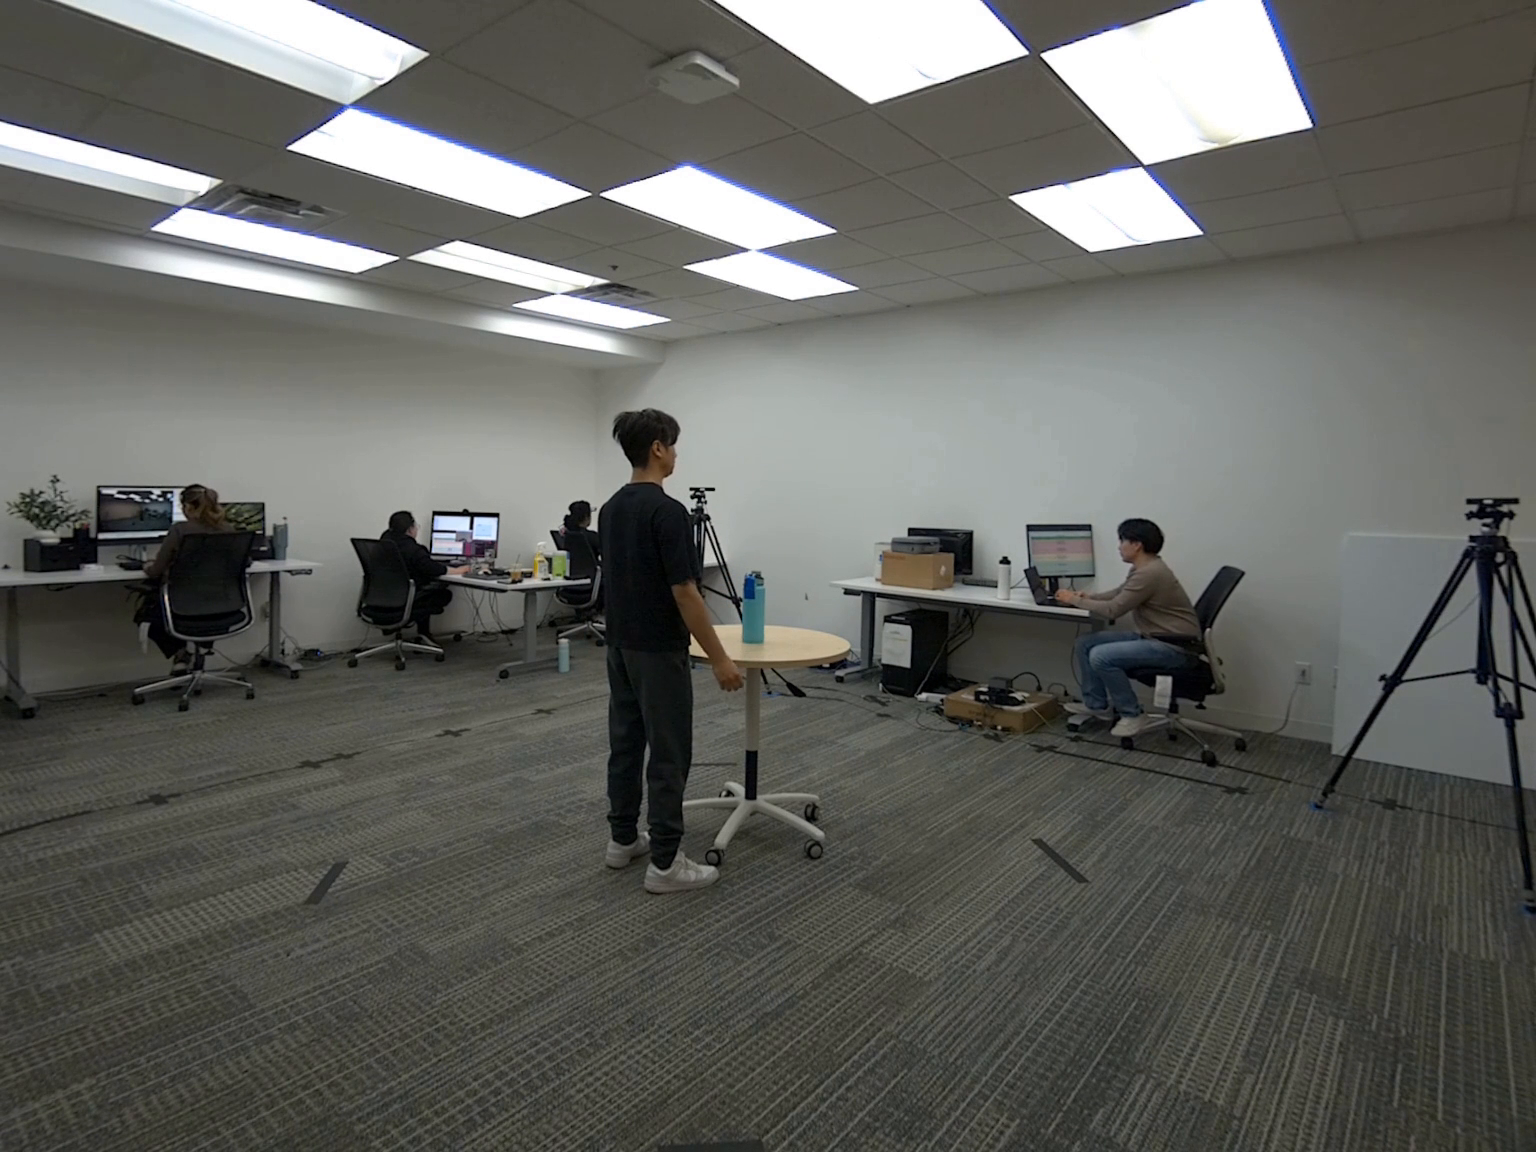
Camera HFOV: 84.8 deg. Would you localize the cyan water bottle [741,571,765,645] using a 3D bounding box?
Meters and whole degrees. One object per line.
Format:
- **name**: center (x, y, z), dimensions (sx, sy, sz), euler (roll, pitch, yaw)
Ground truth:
- **cyan water bottle**: center (-0.069, 0.122, 3.386), dimensions (0.092, 0.282, 0.093), euler (0, 6, -2)
